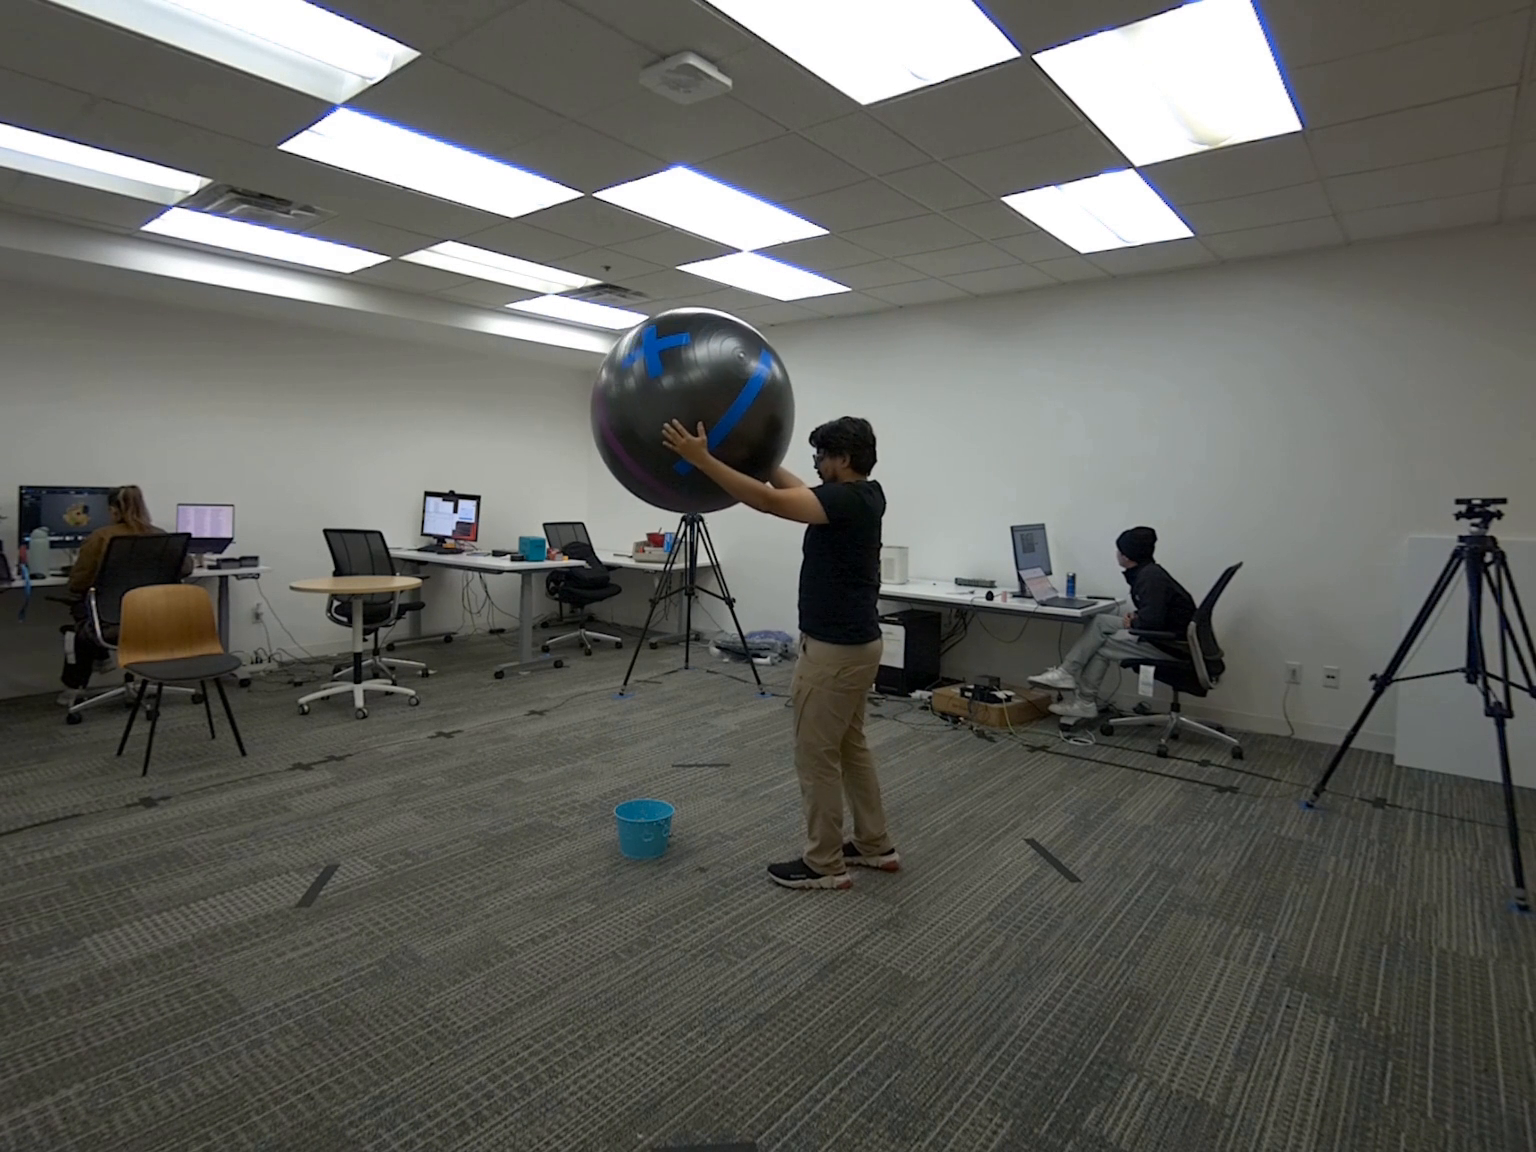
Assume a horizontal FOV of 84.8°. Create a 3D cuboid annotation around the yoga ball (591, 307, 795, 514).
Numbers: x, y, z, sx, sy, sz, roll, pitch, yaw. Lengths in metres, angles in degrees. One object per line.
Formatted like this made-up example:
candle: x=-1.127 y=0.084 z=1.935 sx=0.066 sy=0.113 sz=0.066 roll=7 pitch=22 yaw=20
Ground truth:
yoga ball: x=-0.288 y=-0.603 z=3.176 sx=0.757 sy=0.756 sz=0.761 roll=1 pitch=4 yaw=-2
